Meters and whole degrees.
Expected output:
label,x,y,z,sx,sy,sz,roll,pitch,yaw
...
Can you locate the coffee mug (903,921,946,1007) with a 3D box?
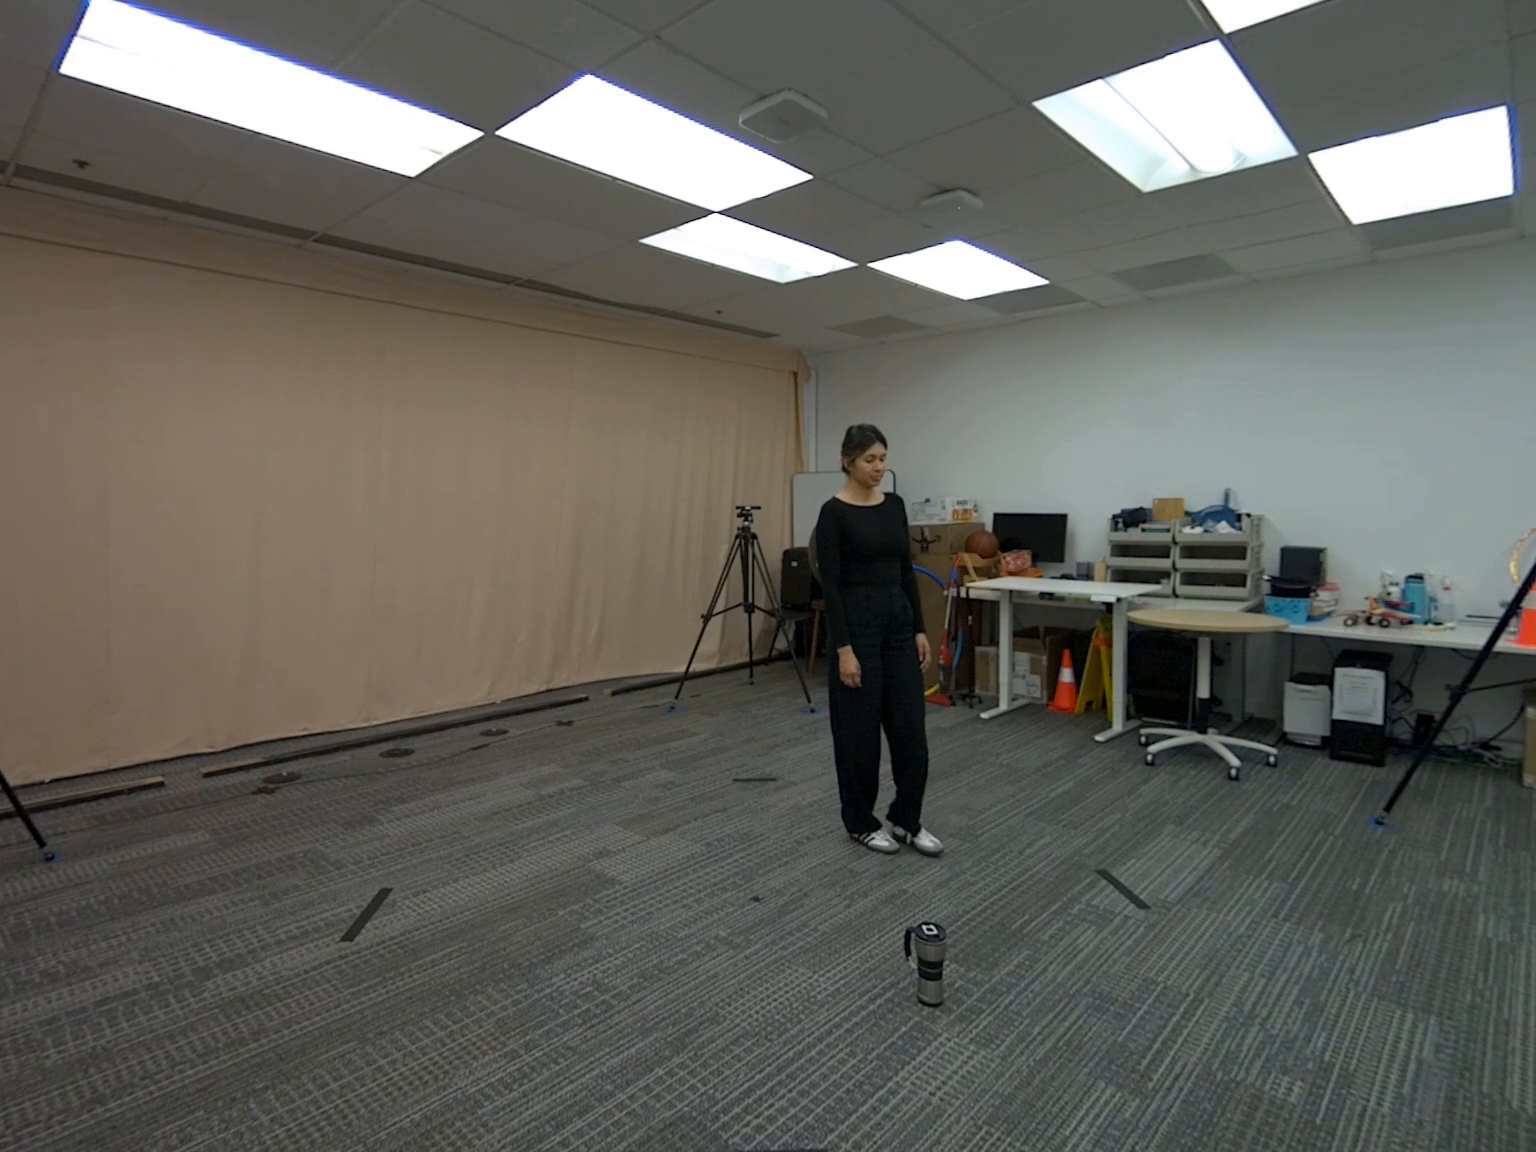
label,x,y,z,sx,sy,sz,roll,pitch,yaw
coffee mug,0.451,1.089,2.391,0.086,0.202,0.125,-4,8,-23
